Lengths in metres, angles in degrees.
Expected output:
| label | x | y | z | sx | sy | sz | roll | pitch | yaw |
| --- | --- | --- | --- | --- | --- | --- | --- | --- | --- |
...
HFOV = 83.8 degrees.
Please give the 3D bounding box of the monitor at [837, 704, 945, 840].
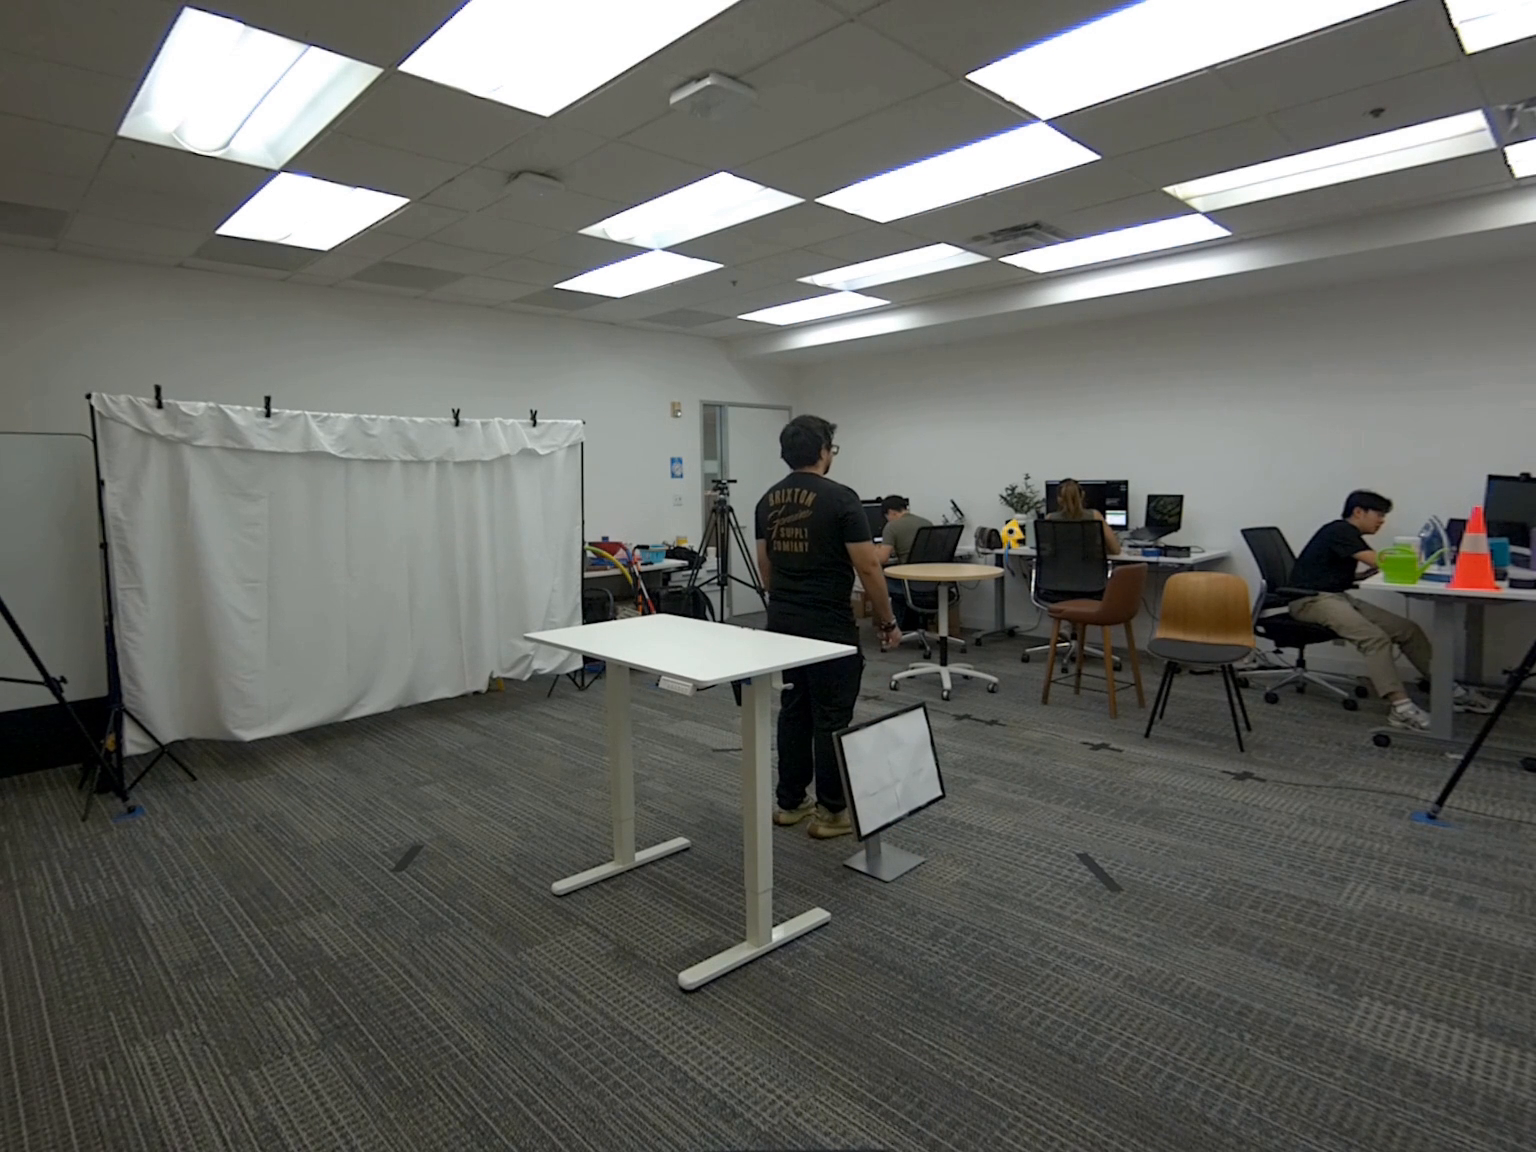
| label | x | y | z | sx | sy | sz | roll | pitch | yaw |
| --- | --- | --- | --- | --- | --- | --- | --- | --- | --- |
| monitor | 0.393 | 0.773 | 3.095 | 0.215 | 0.554 | 0.550 | -6 | 0 | 44 |
